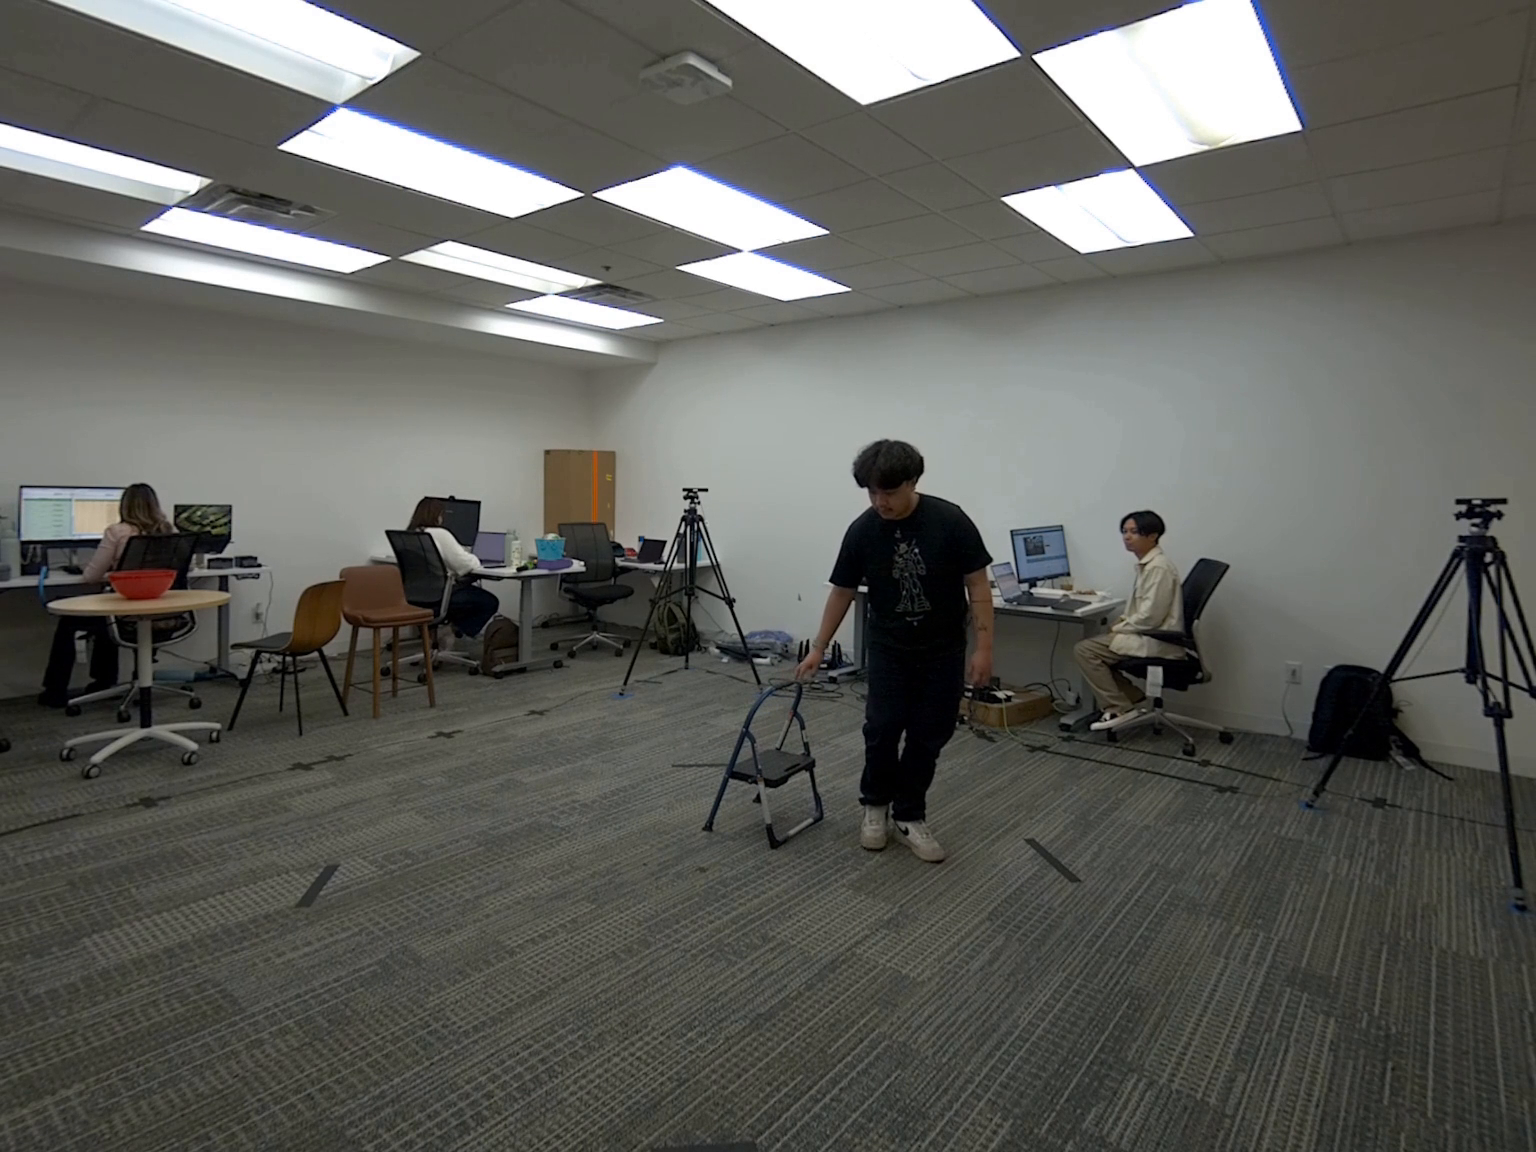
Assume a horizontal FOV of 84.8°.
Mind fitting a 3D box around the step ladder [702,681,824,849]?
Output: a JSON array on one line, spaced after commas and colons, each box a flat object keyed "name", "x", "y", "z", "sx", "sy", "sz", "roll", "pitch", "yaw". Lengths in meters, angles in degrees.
[{"name": "step ladder", "x": -0.019, "y": 0.727, "z": 3.540, "sx": 0.360, "sy": 0.604, "sz": 0.419, "roll": 3, "pitch": 4, "yaw": 32}]
